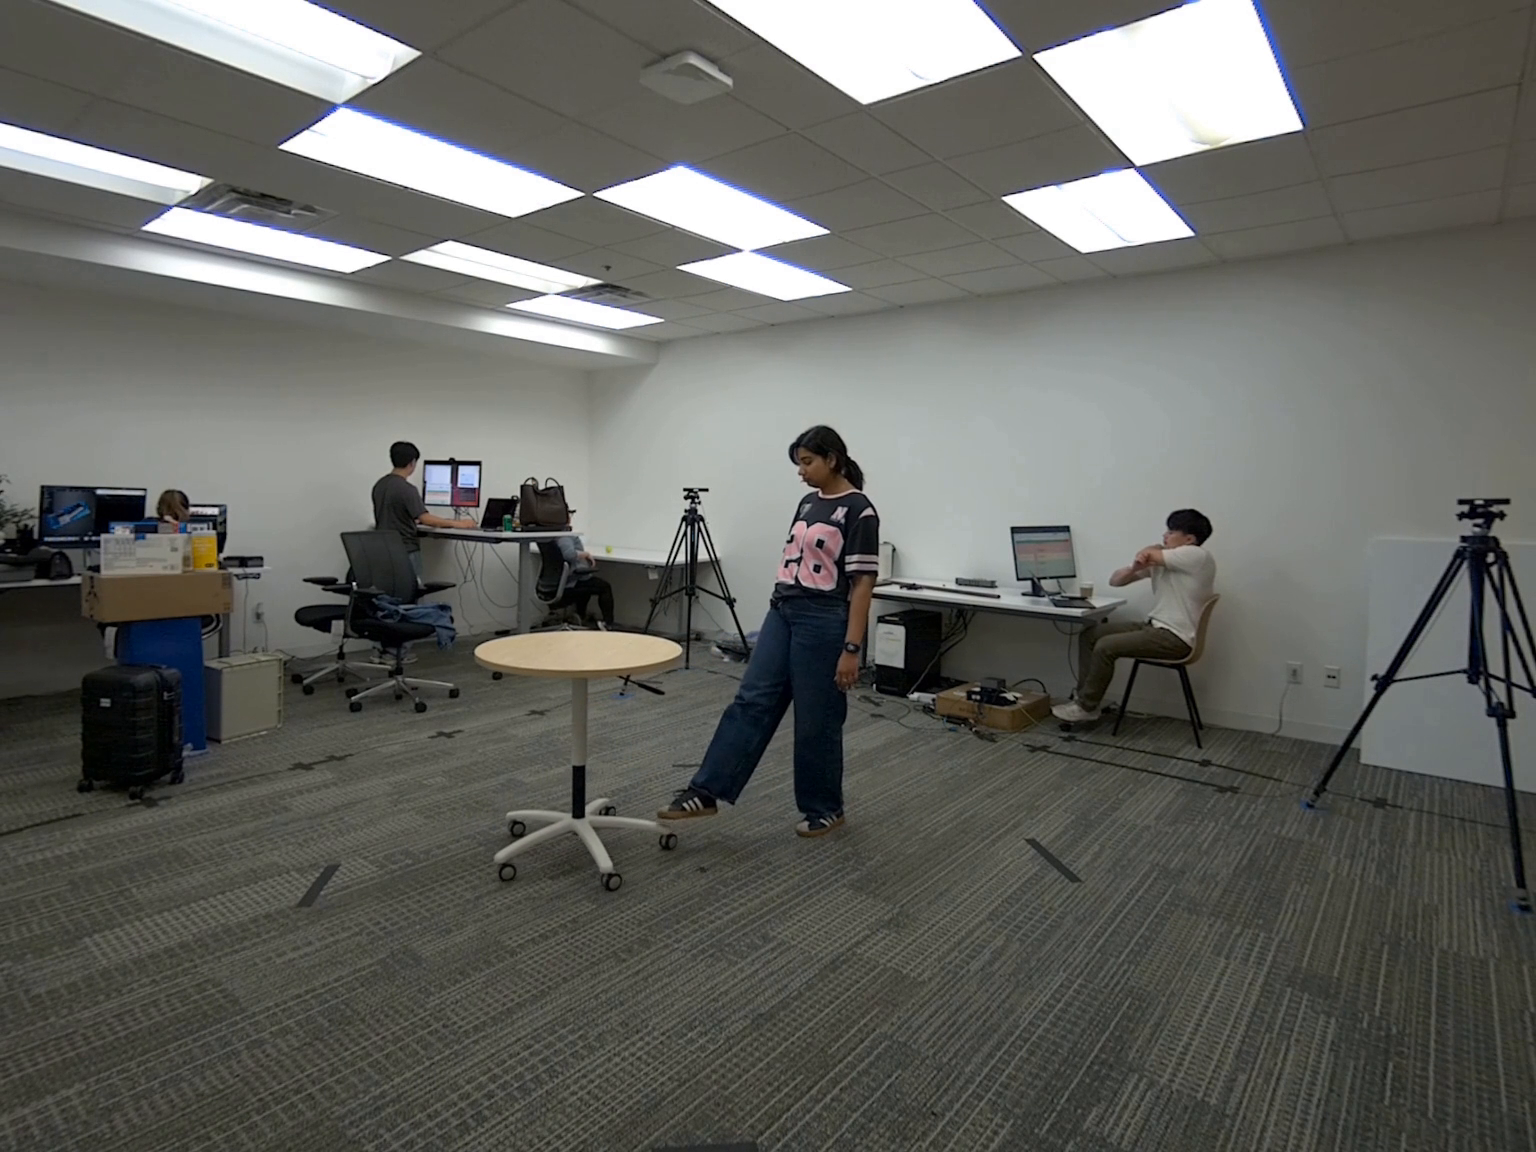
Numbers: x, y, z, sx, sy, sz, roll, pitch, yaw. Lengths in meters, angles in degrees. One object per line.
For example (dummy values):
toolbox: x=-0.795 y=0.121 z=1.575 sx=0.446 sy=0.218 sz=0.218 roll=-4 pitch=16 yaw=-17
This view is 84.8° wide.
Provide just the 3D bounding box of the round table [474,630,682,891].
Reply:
round table: x=-0.722 y=0.662 z=3.212 sx=0.763 sy=0.791 sz=0.768 roll=1 pitch=4 yaw=-2
